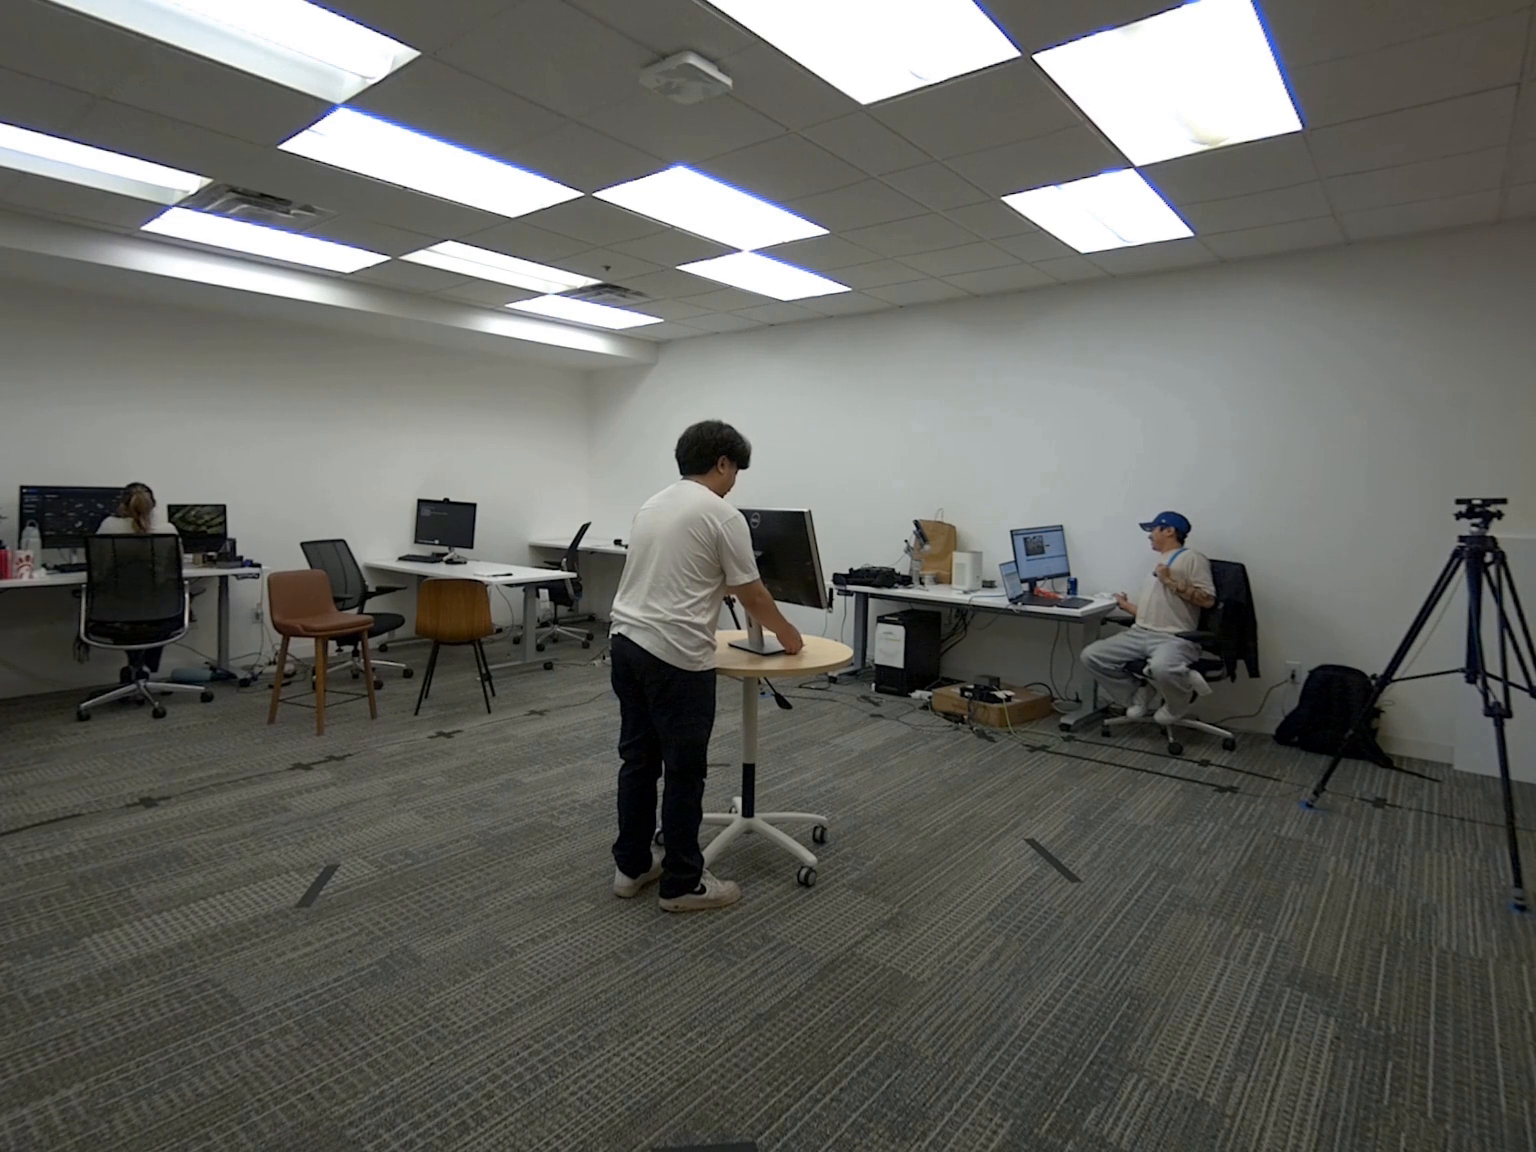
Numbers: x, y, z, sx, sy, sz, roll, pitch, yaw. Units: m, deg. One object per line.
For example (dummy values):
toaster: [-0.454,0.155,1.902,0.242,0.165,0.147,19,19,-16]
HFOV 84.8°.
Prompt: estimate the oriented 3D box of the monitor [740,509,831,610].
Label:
monitor: [-0.049,0.017,3.176,0.205,0.549,0.584,-11,11,-35]
